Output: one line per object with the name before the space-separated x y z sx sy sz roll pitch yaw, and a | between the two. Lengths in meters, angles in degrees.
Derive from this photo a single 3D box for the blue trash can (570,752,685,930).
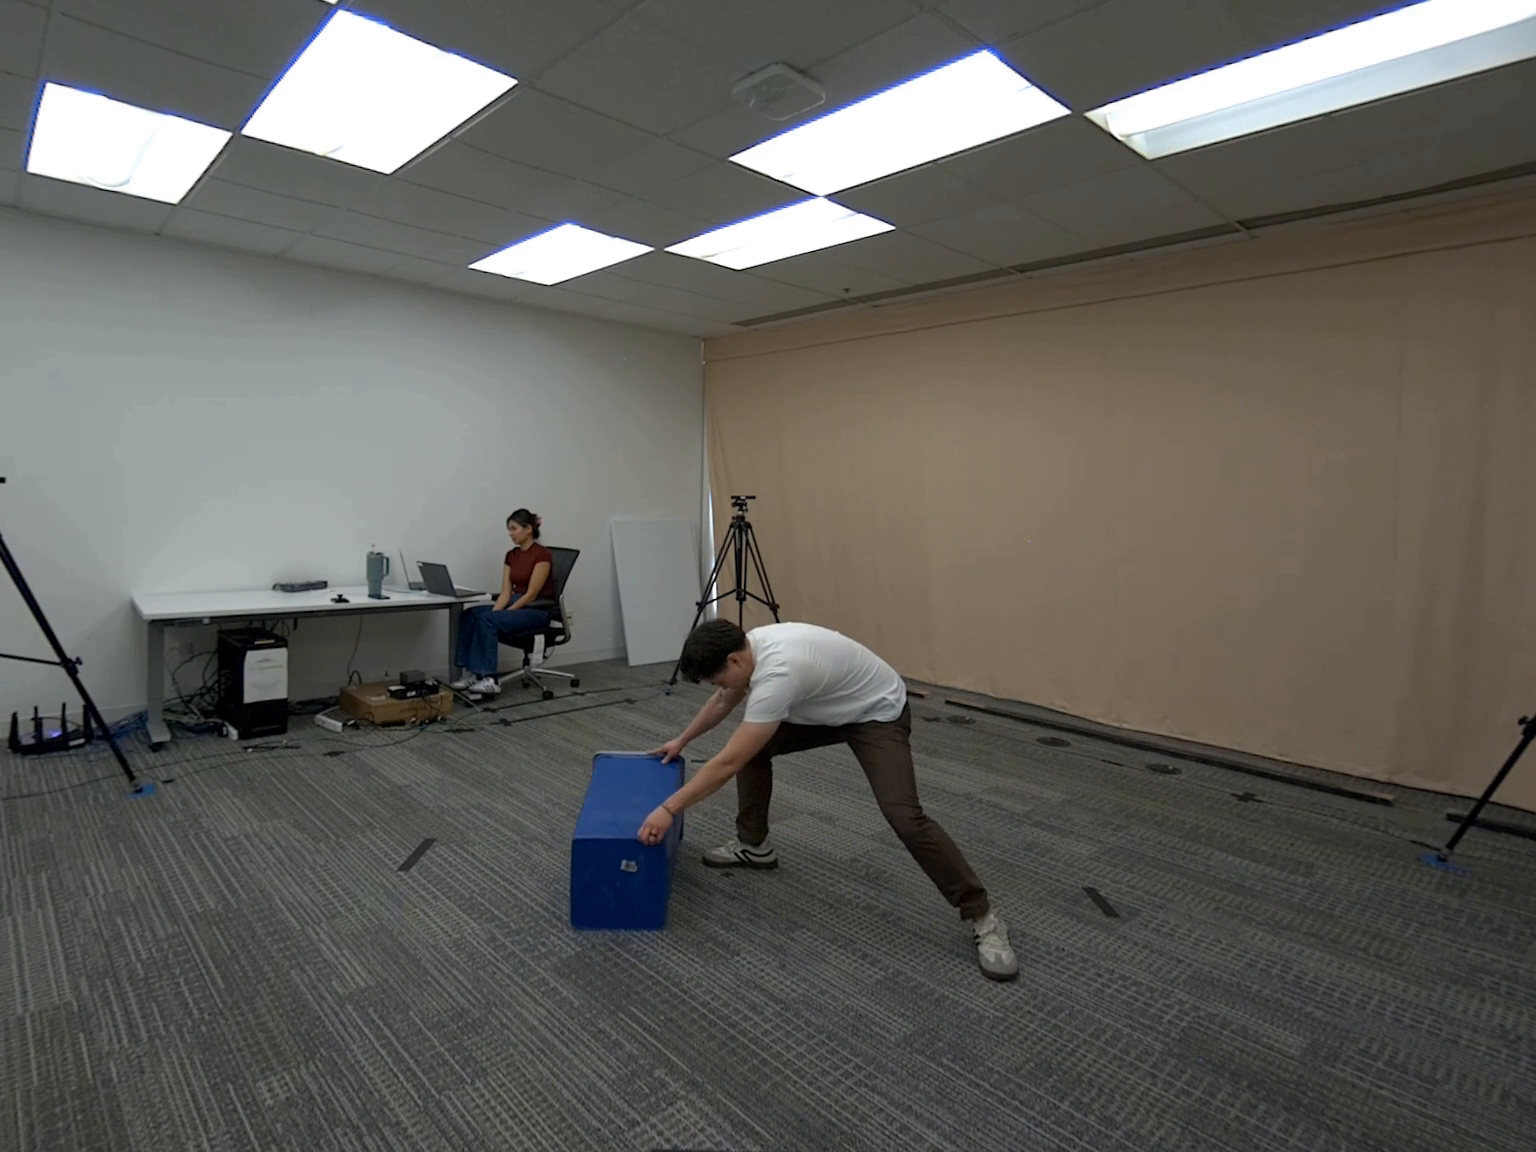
blue trash can | -0.505 0.933 3.022 0.374 0.376 0.717 3 7 -2
